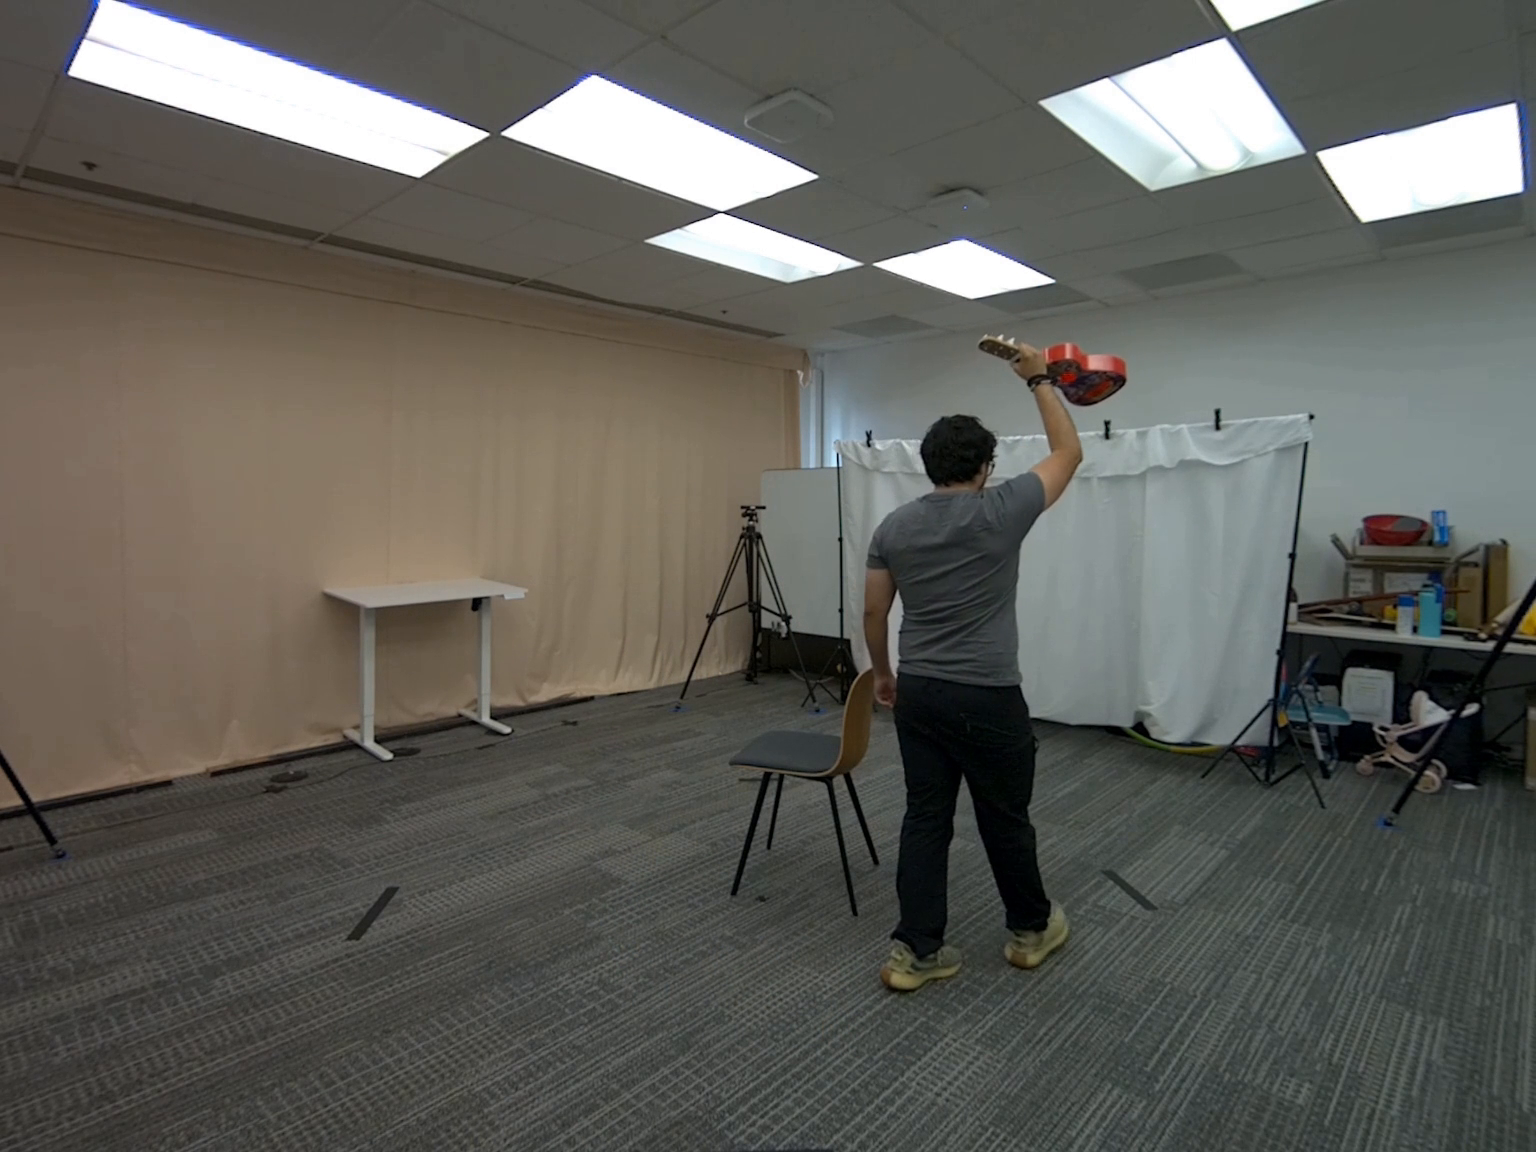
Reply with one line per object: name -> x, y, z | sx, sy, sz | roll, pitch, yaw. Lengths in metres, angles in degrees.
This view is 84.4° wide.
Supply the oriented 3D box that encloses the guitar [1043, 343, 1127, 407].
guitar -> 0.885, -0.659, 2.542 | 0.484, 0.071, 0.196 | 21, -27, -26
